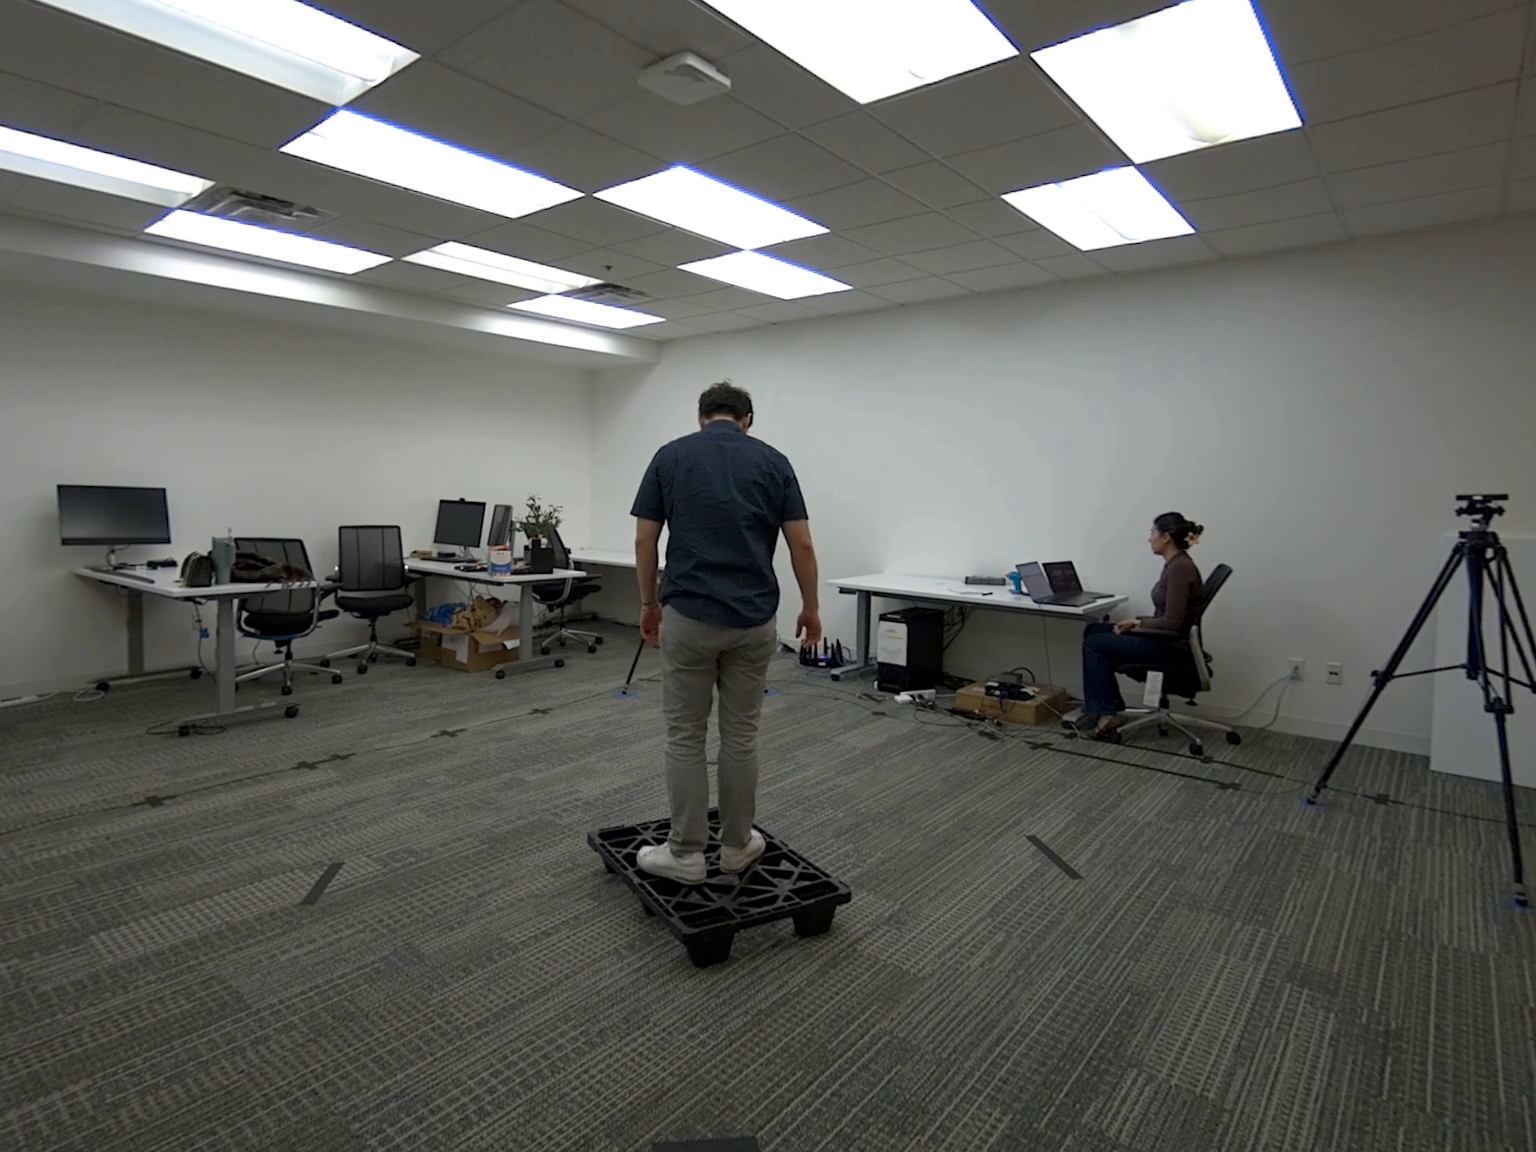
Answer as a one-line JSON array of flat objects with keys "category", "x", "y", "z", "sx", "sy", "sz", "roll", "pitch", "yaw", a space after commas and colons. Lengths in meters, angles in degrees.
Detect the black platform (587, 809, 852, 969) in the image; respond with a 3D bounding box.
[{"category": "black platform", "x": -0.206, "y": 1.021, "z": 2.876, "sx": 0.589, "sy": 0.143, "sz": 0.830, "roll": -3, "pitch": 7, "yaw": -31}]
